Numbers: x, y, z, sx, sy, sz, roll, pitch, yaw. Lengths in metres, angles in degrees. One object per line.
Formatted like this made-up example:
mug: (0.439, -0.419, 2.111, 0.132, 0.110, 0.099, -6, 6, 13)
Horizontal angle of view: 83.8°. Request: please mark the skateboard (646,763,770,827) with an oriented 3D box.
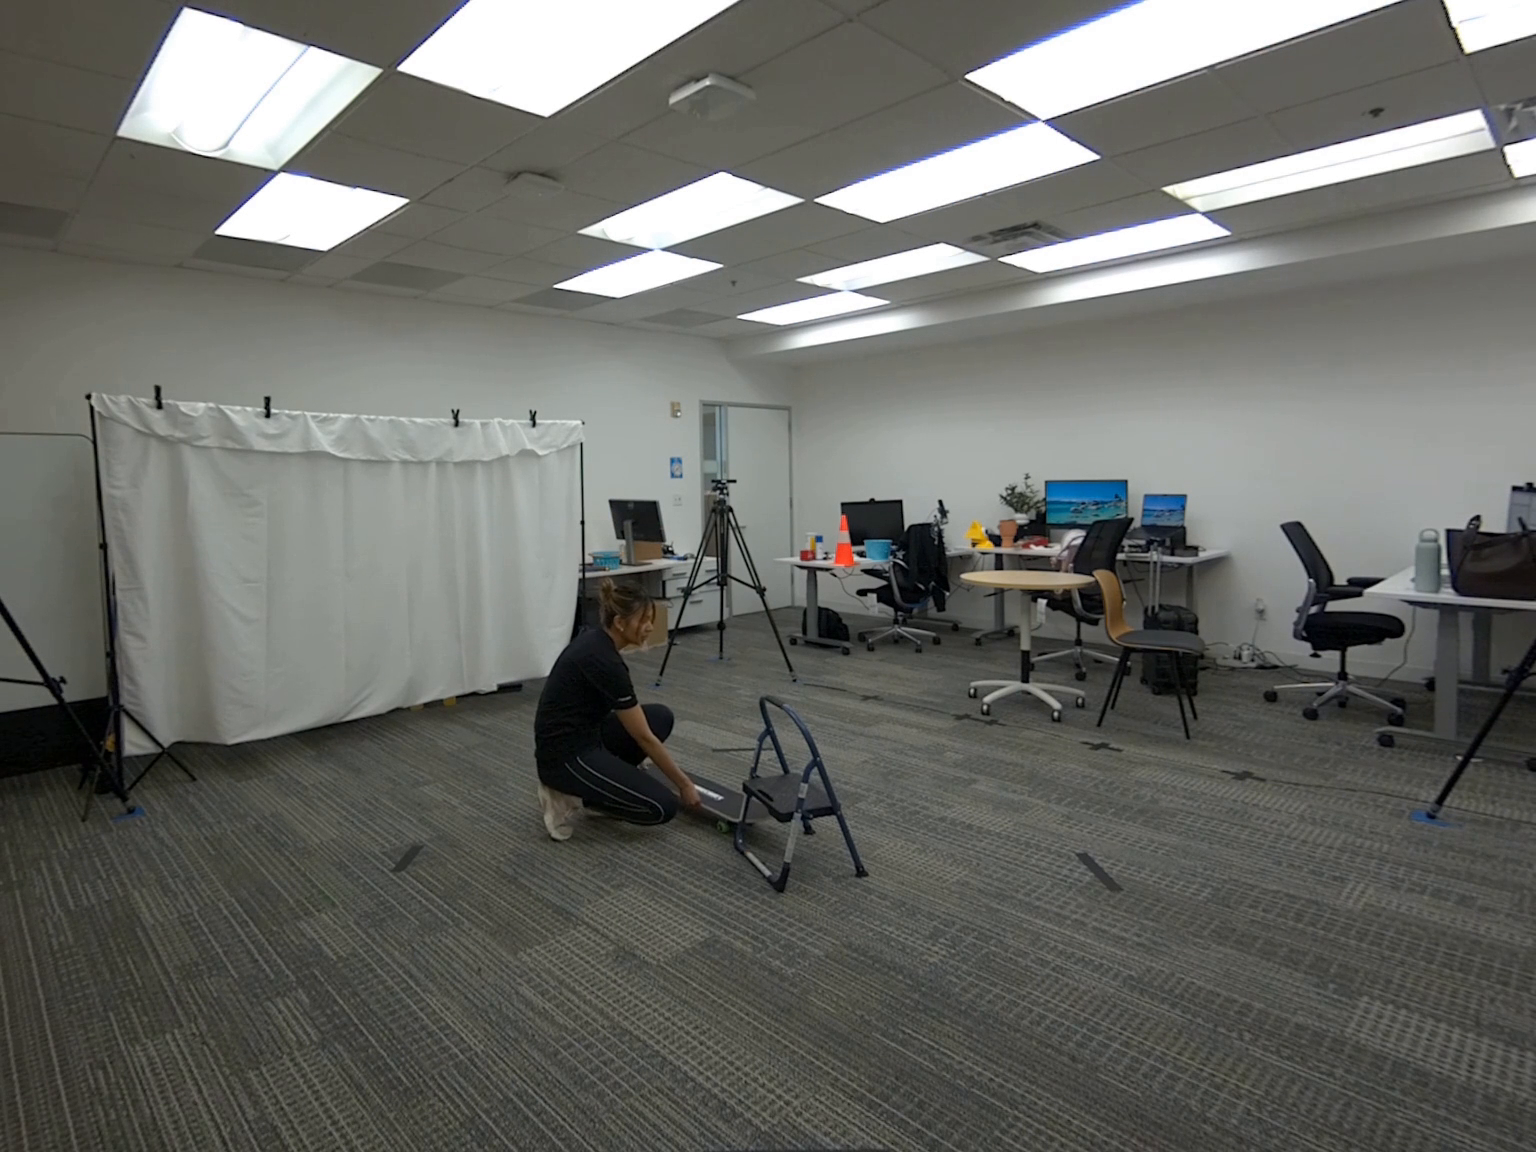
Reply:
skateboard: (-0.257, 0.937, 3.582, 0.188, 0.110, 0.810, -6, 9, -42)
